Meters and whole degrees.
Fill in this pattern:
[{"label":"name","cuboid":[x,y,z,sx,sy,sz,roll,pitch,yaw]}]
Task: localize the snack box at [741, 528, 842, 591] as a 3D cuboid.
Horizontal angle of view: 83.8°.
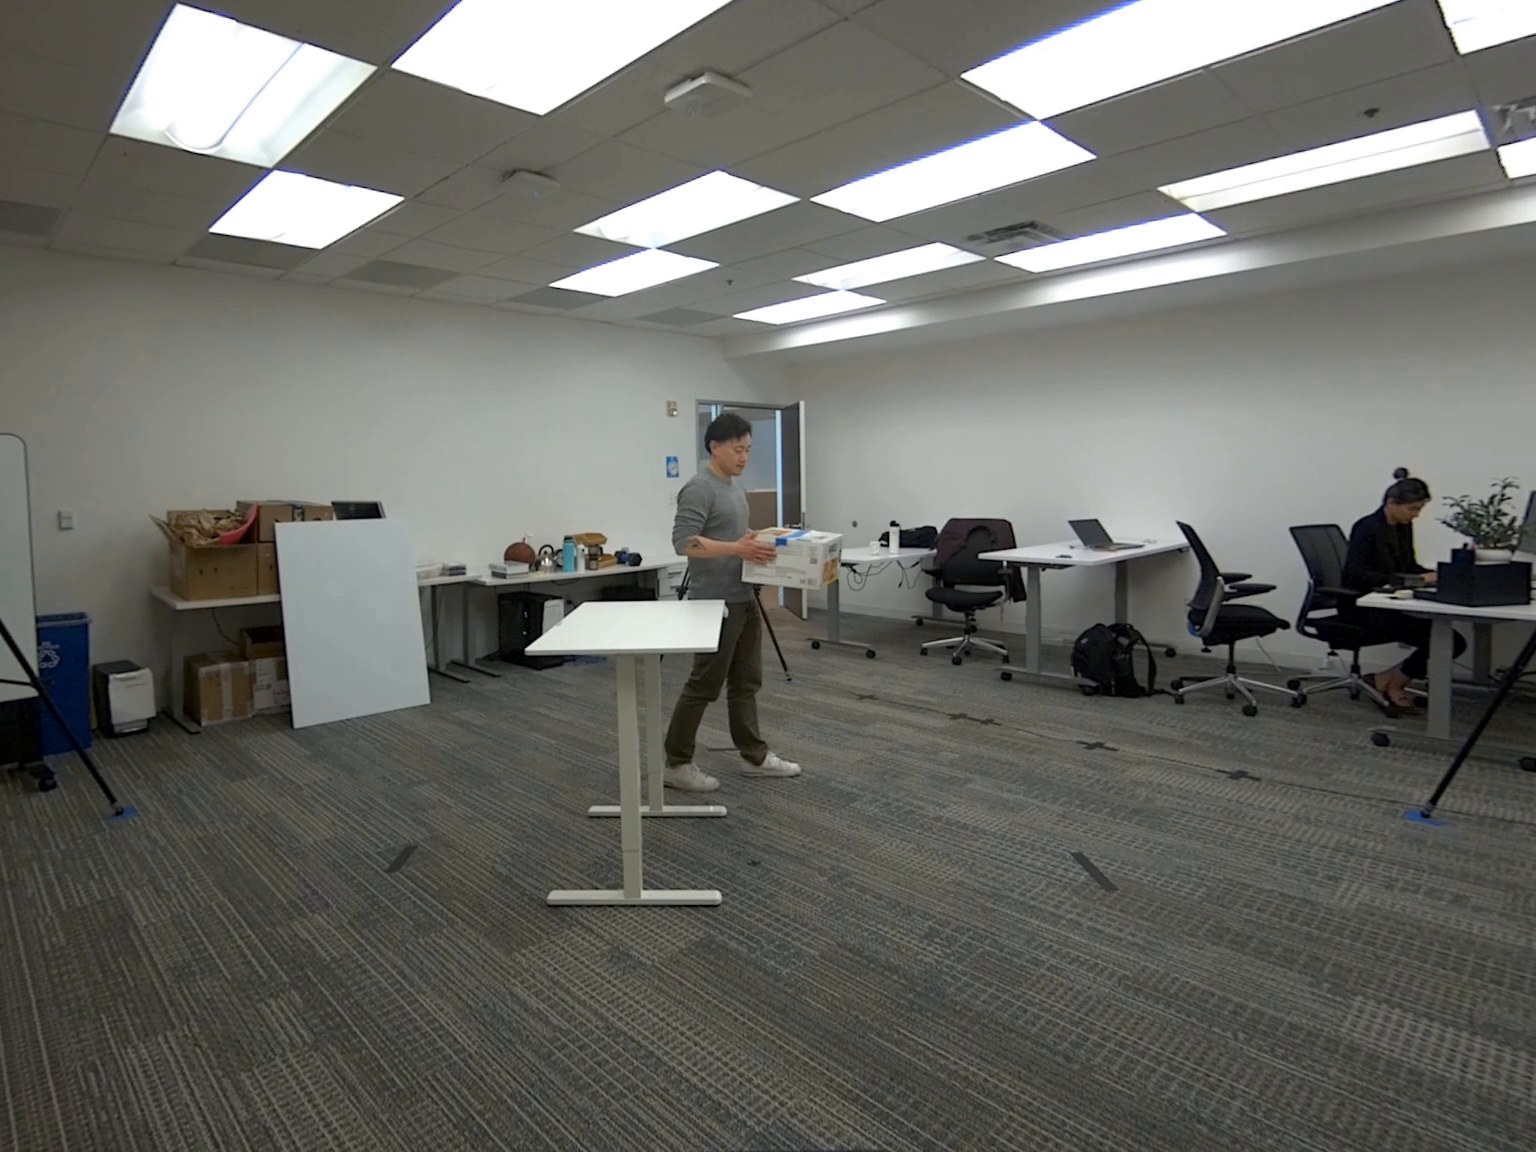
[{"label":"snack box","cuboid":[0.116,-0.080,3.761,0.347,0.204,0.400,5,9,18]}]
